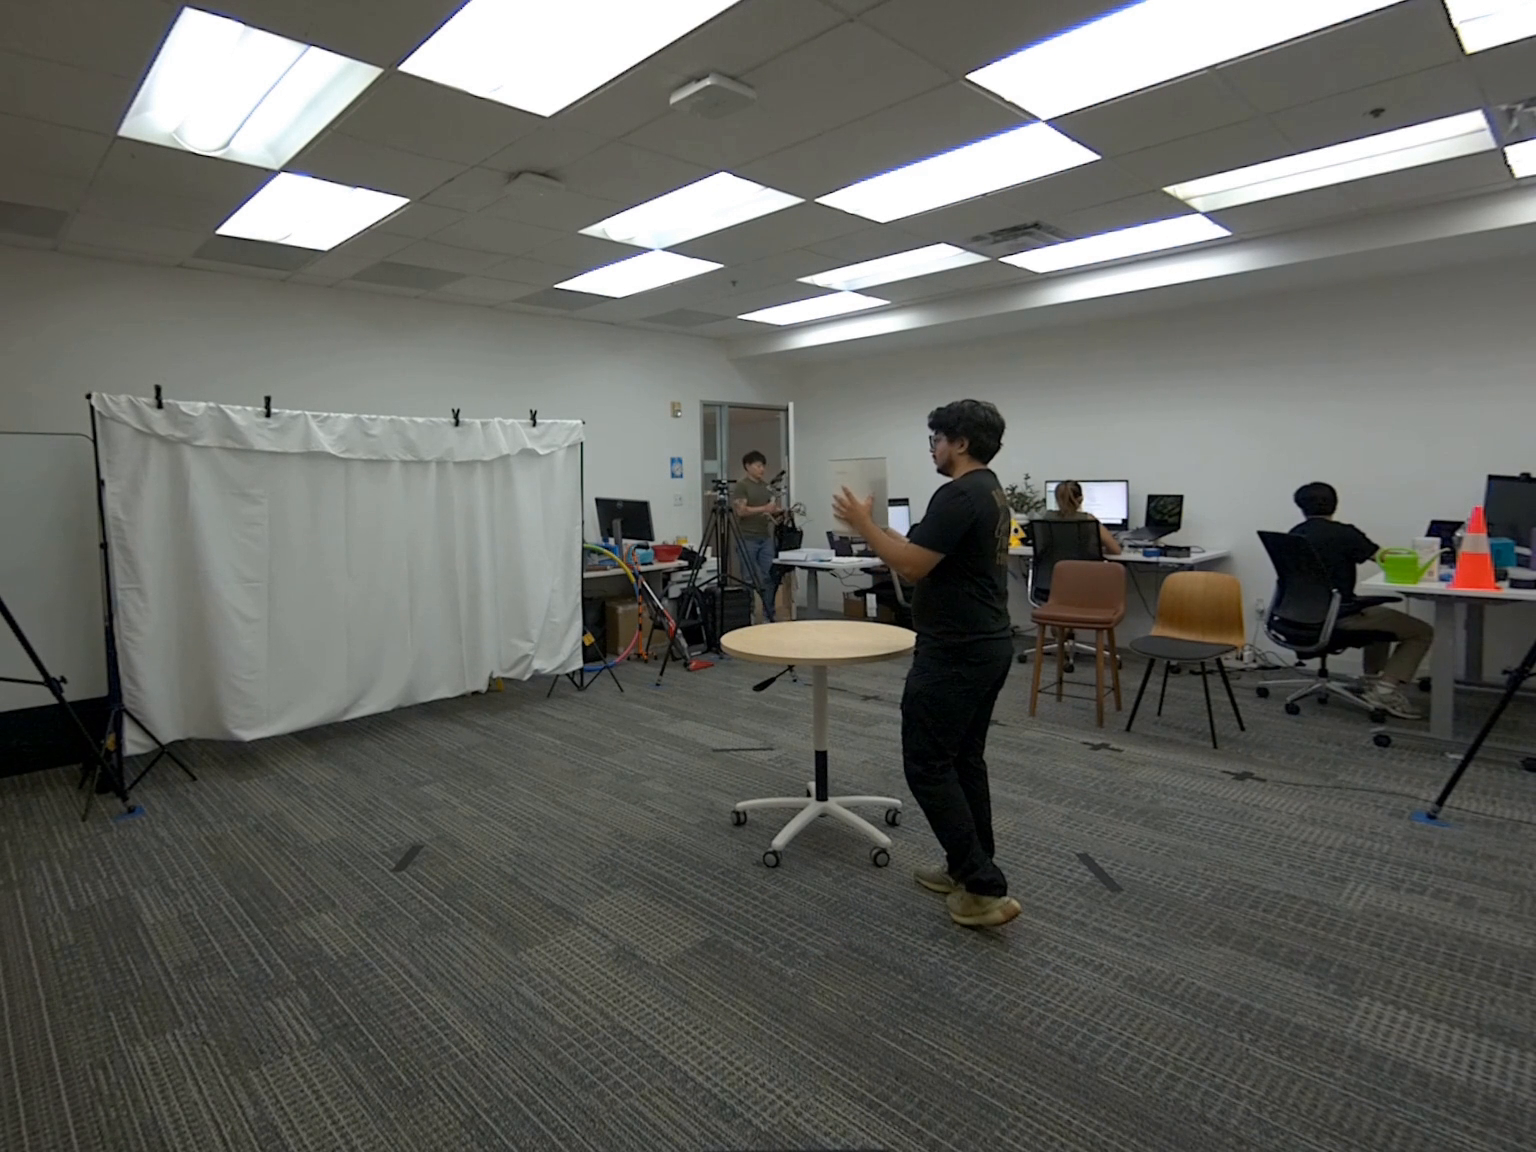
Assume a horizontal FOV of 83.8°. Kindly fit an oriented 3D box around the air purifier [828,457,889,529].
[{"bbox_3d":[0.319,-0.276,2.942,0.176,0.264,0.167,3,7,44],"label":"air purifier"}]
